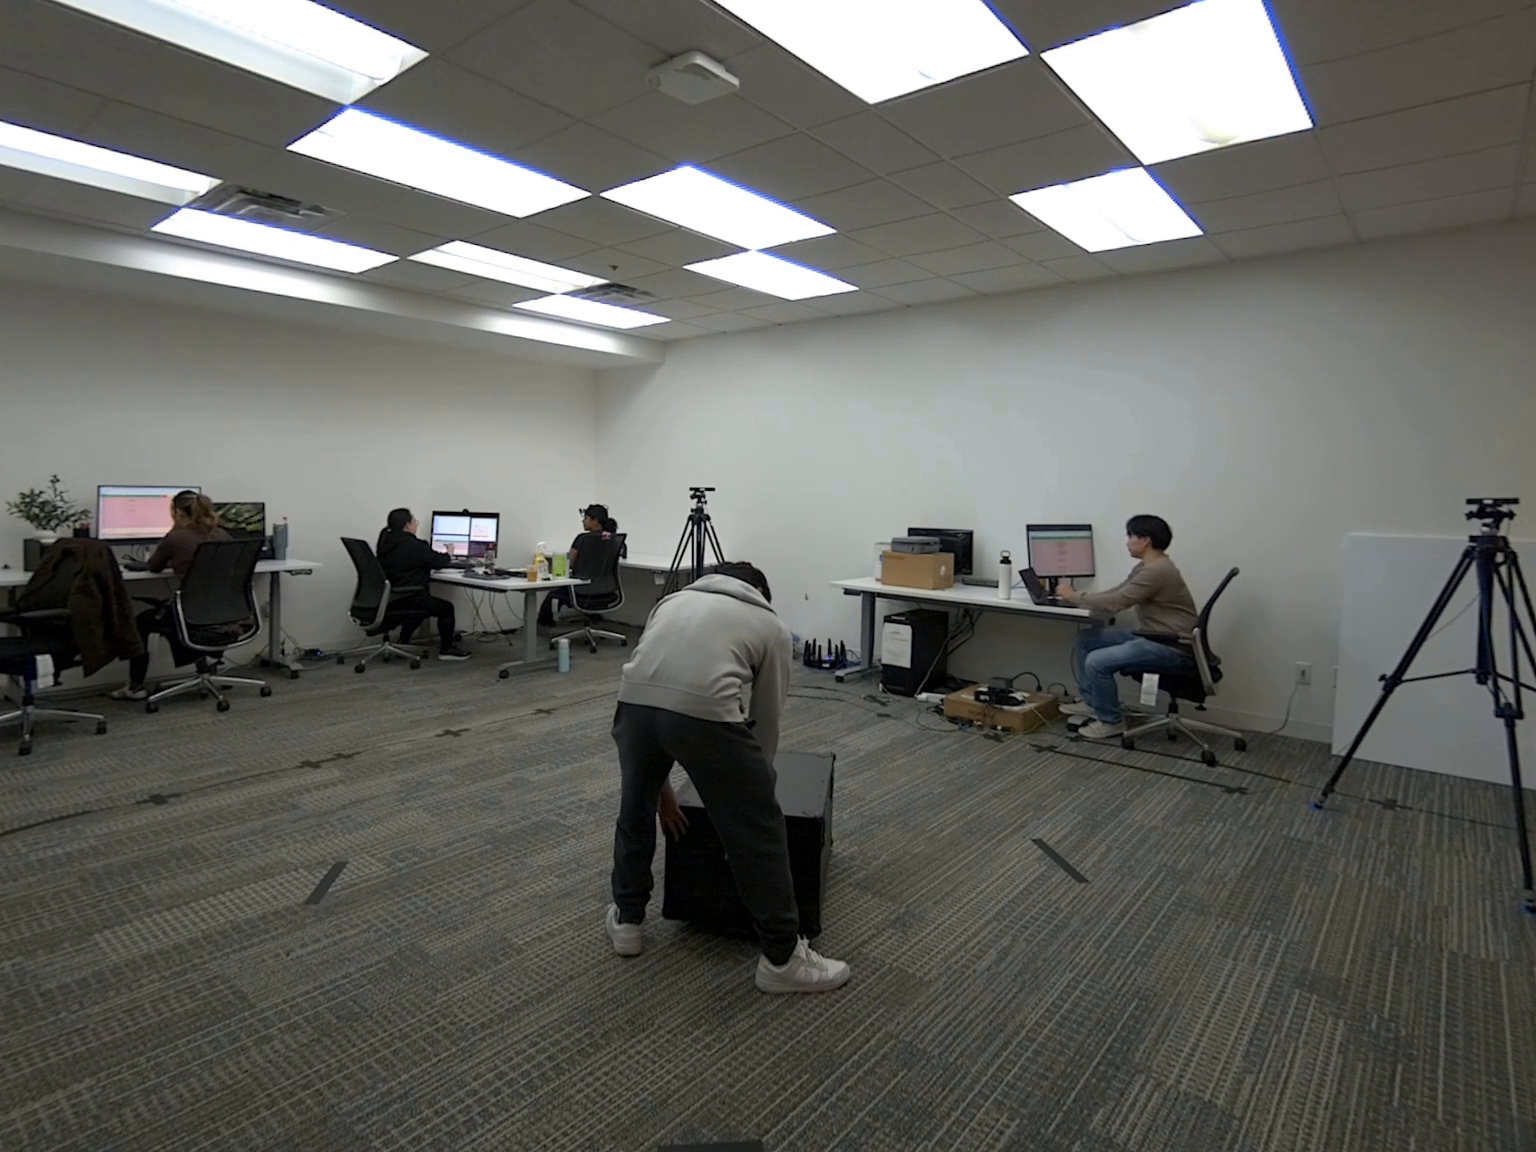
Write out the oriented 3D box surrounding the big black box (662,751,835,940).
[{"bbox_3d":[-0.033,0.873,2.990,0.527,0.395,0.854,3,3,8],"label":"big black box"}]
